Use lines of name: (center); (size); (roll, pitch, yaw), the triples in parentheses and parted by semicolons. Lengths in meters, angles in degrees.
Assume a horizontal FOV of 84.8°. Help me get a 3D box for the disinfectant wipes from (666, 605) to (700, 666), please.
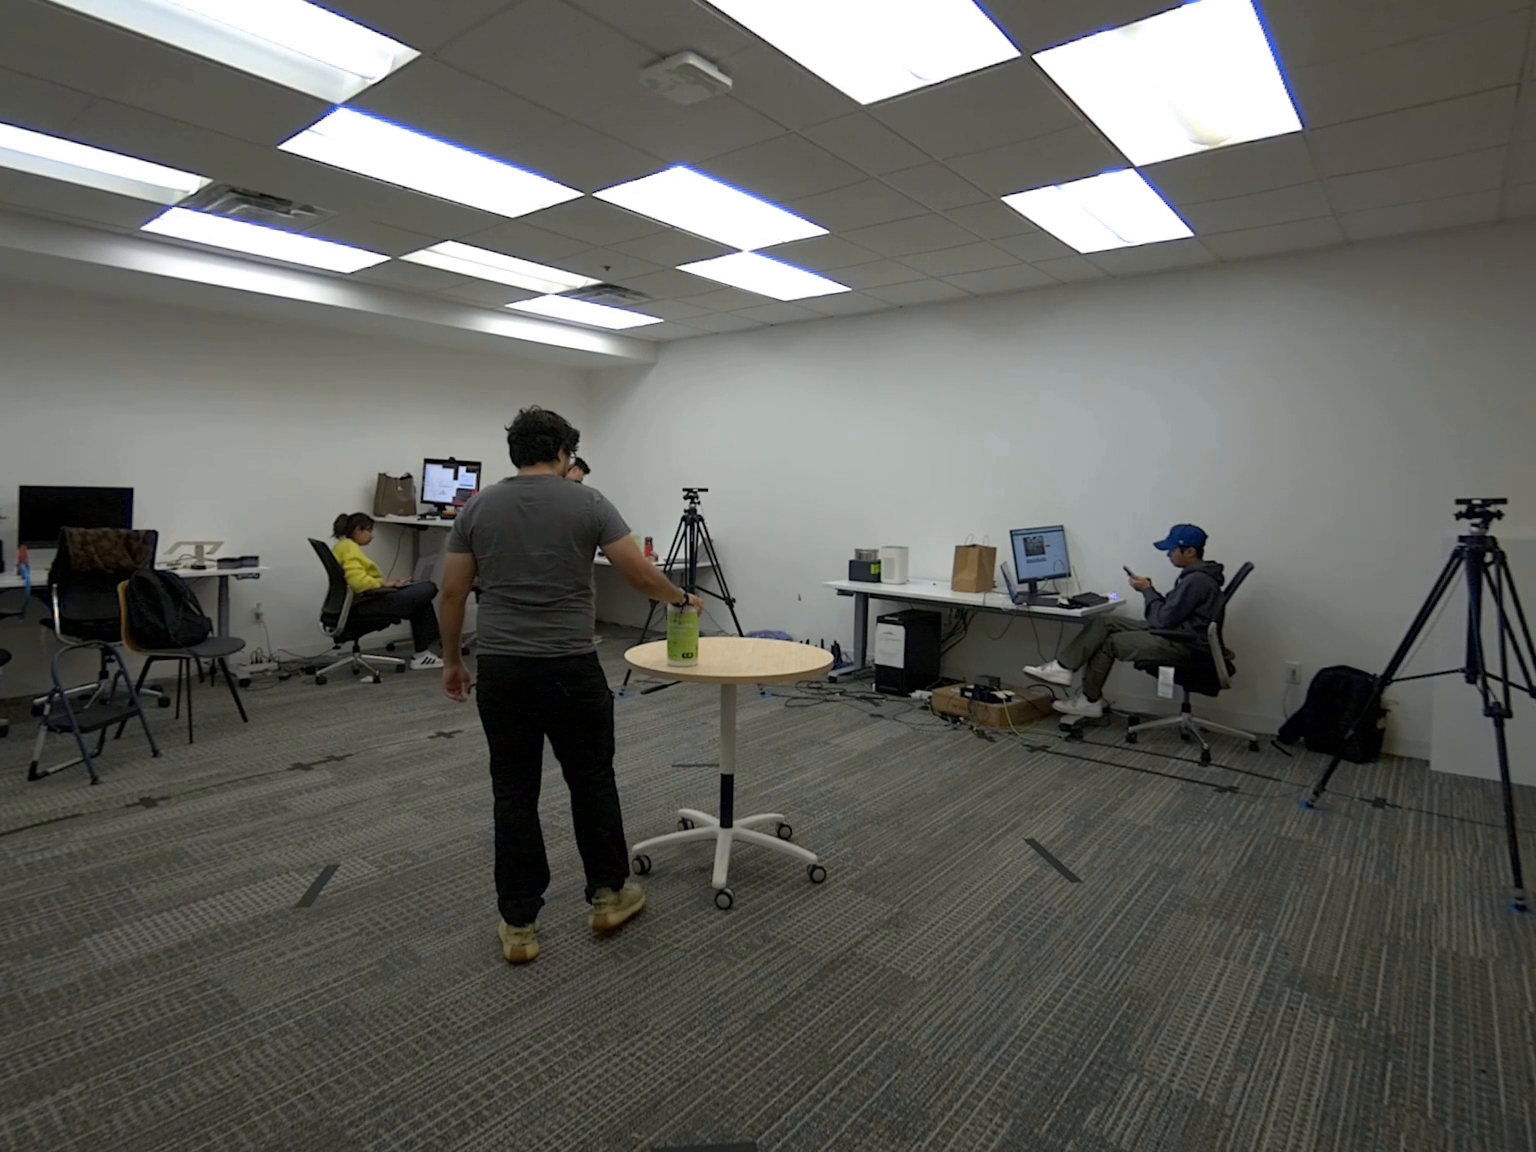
disinfectant wipes: (-0.303, 0.198, 2.936); (0.118, 0.216, 0.118); (0, 6, -2)
